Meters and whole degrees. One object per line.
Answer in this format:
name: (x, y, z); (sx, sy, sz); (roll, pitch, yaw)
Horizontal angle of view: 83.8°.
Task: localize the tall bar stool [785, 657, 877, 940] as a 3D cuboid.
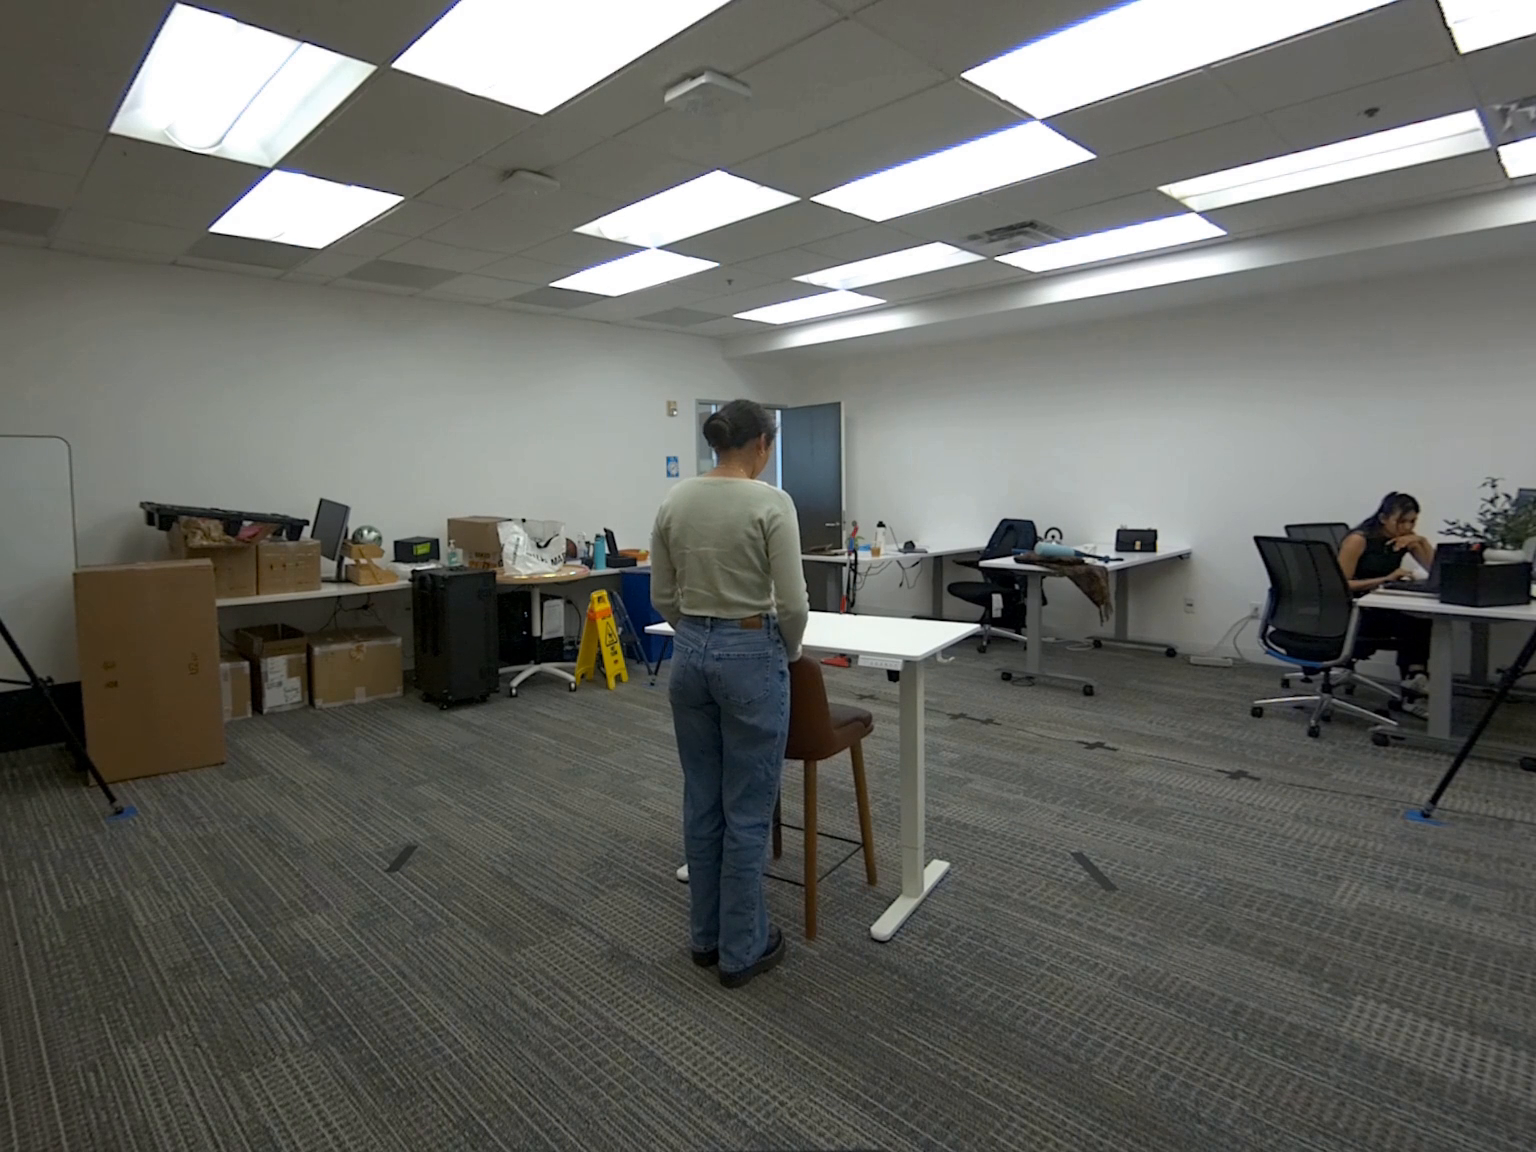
tall bar stool: (0.082, 0.642, 2.828); (0.469, 0.884, 0.457); (2, 8, 32)
